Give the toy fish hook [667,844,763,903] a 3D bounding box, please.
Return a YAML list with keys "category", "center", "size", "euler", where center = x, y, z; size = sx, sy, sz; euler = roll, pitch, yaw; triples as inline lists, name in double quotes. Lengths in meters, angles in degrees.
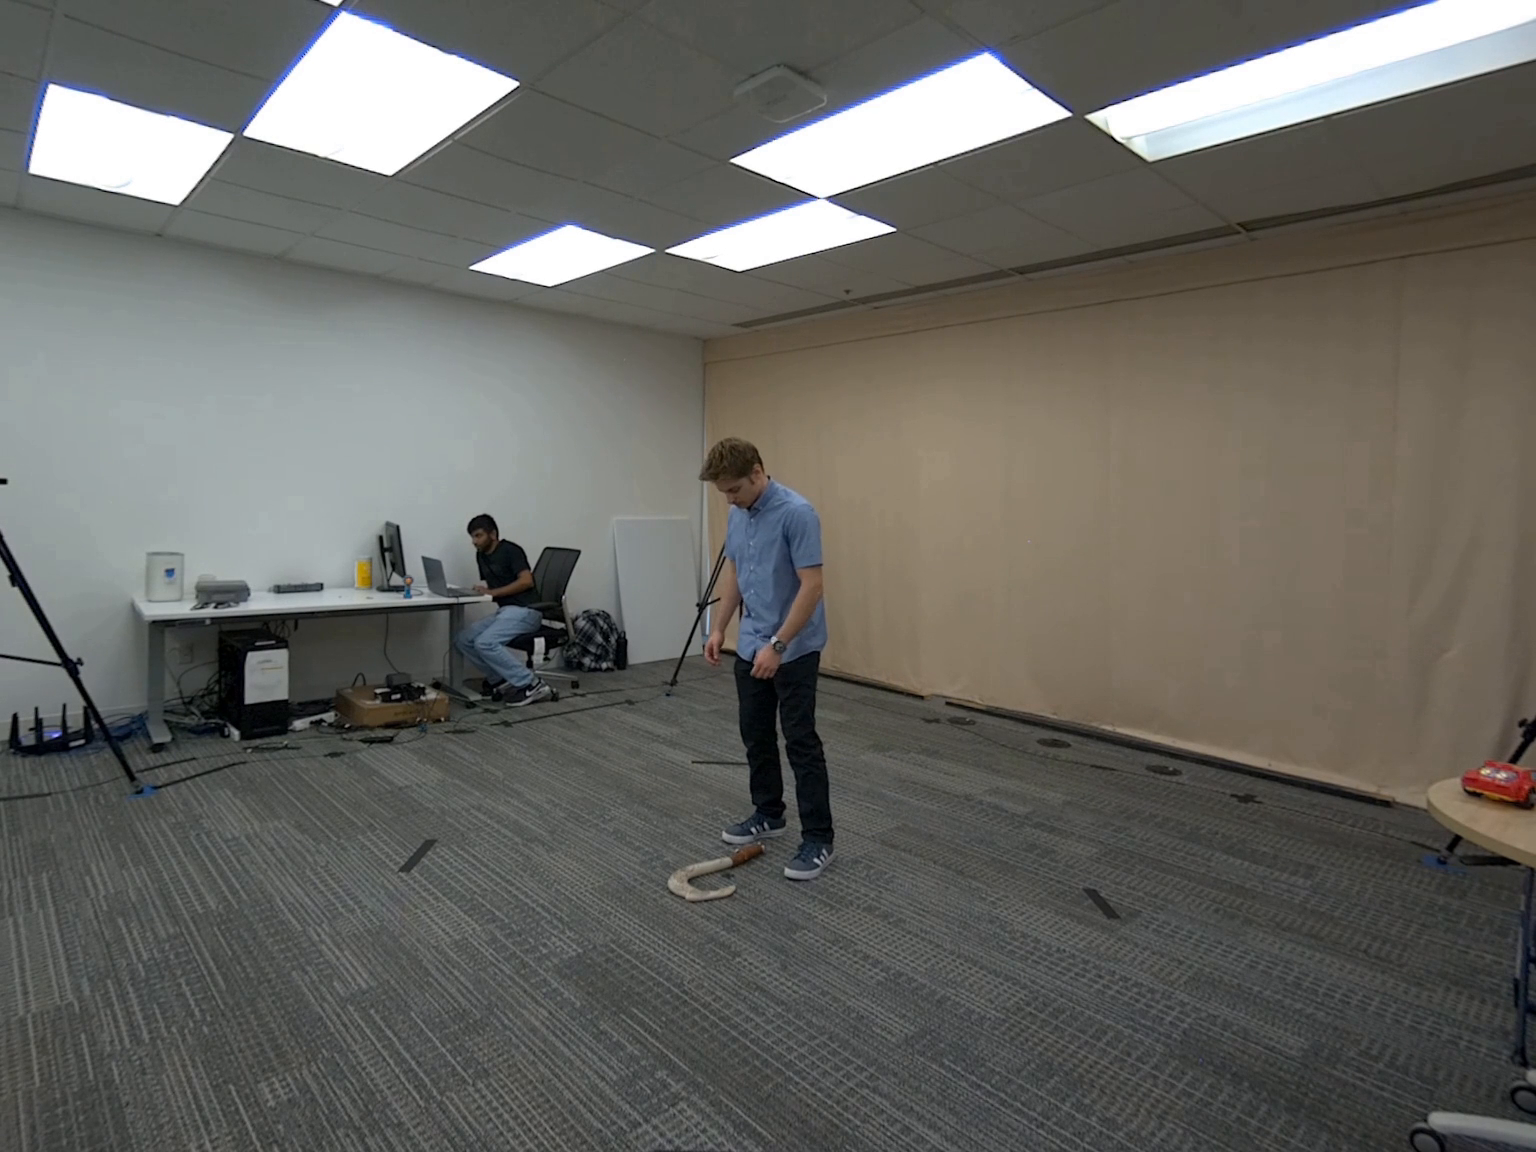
- category: "toy fish hook"
  center: [-0.149, 1.091, 3.102]
  size: [0.231, 0.048, 0.495]
  euler: [16, 15, 40]
